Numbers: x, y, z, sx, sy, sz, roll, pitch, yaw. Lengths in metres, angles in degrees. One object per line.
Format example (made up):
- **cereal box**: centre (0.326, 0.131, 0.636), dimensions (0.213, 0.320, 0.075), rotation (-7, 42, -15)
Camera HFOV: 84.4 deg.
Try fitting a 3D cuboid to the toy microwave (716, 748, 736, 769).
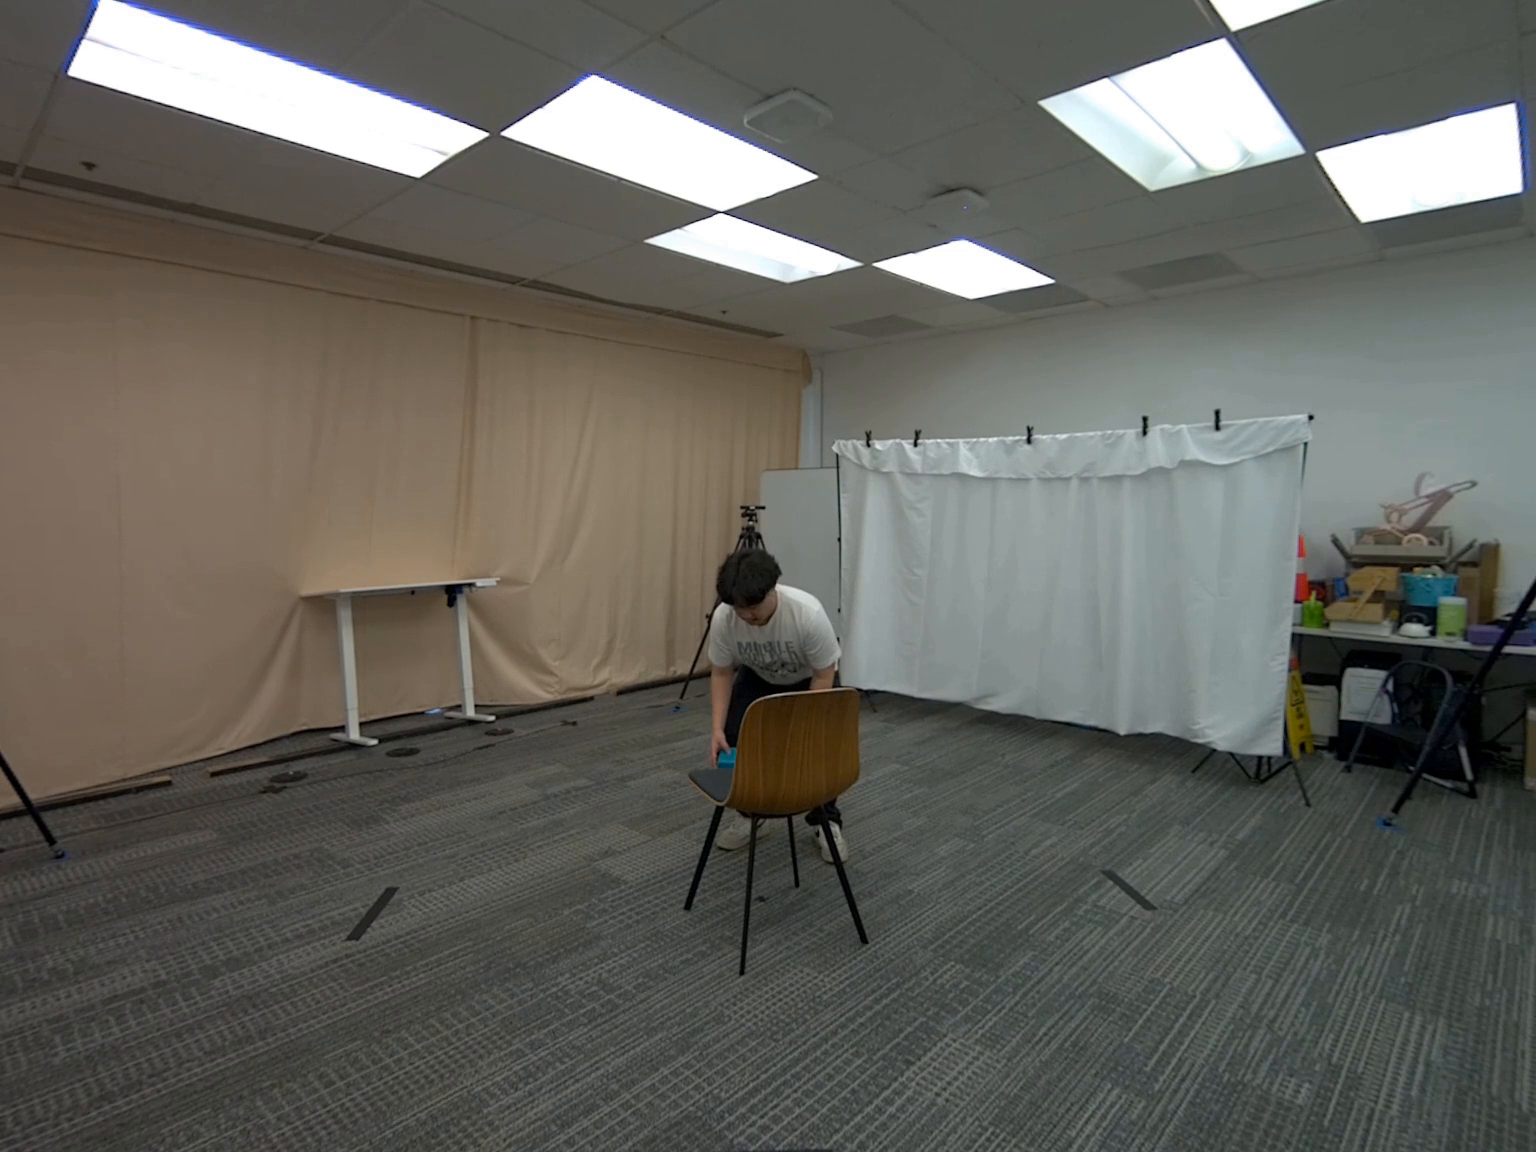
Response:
- **toy microwave**: centre (-0.051, 0.773, 3.272), dimensions (0.287, 0.183, 0.153), rotation (0, 11, 3)
